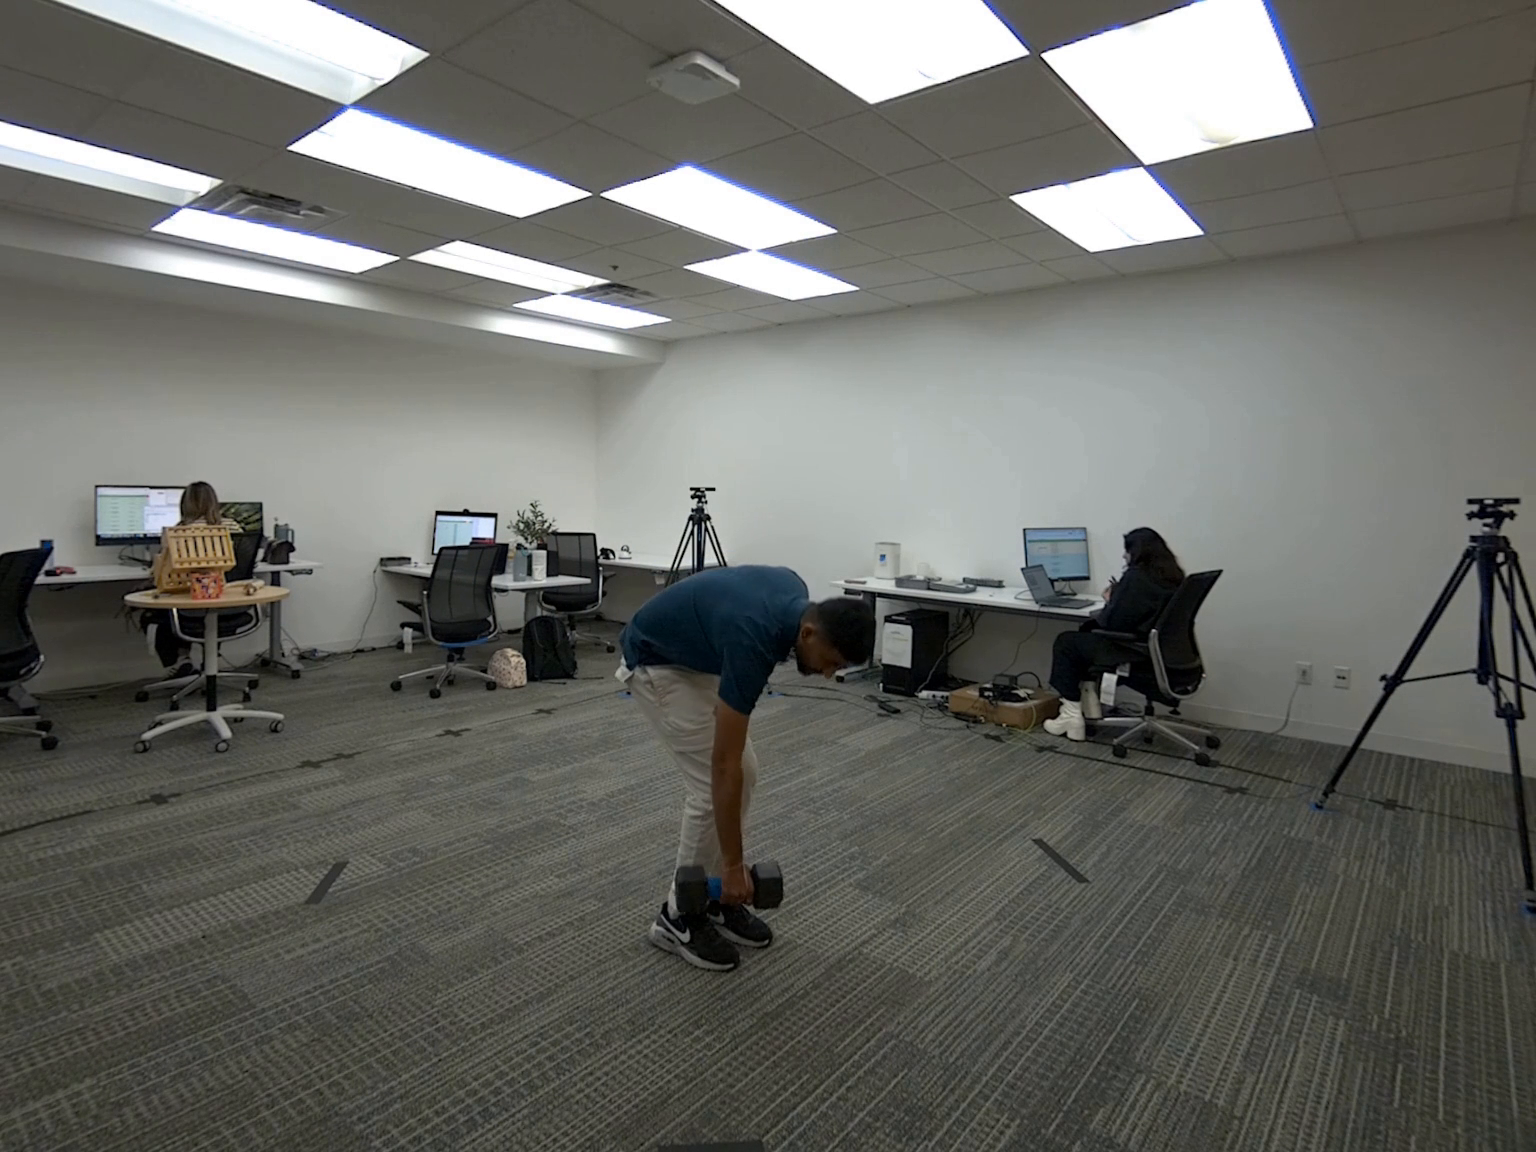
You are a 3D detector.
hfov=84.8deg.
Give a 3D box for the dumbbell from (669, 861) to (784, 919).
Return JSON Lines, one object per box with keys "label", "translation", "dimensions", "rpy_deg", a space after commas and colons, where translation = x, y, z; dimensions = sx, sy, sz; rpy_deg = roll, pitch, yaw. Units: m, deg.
{"label": "dumbbell", "translation": [-0.117, 0.851, 2.353], "dimensions": [0.291, 0.112, 0.120], "rpy_deg": [0, -39, -9]}
